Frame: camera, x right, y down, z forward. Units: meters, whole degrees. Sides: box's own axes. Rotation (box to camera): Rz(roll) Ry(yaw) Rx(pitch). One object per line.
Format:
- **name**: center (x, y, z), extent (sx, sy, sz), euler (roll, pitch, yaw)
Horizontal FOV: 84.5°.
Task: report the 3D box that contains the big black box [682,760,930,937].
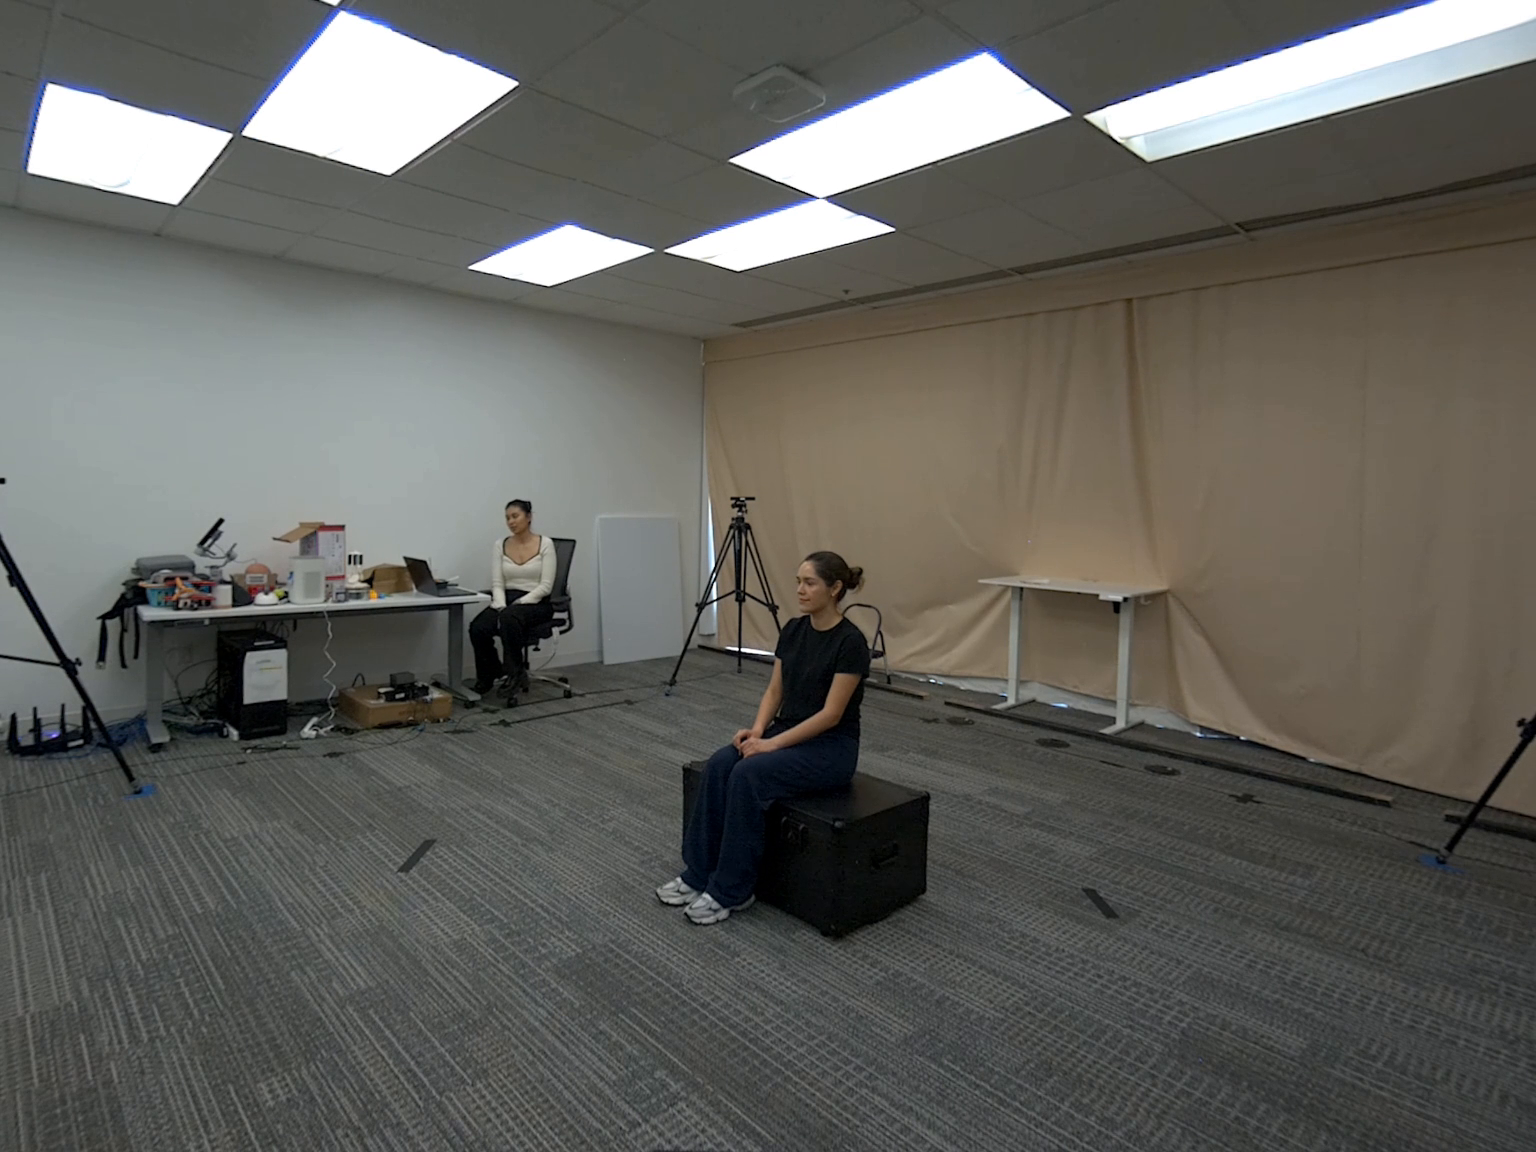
- **big black box**: center (0.094, 0.926, 3.087), extent (0.509, 0.395, 0.884), euler (-2, 6, -44)
